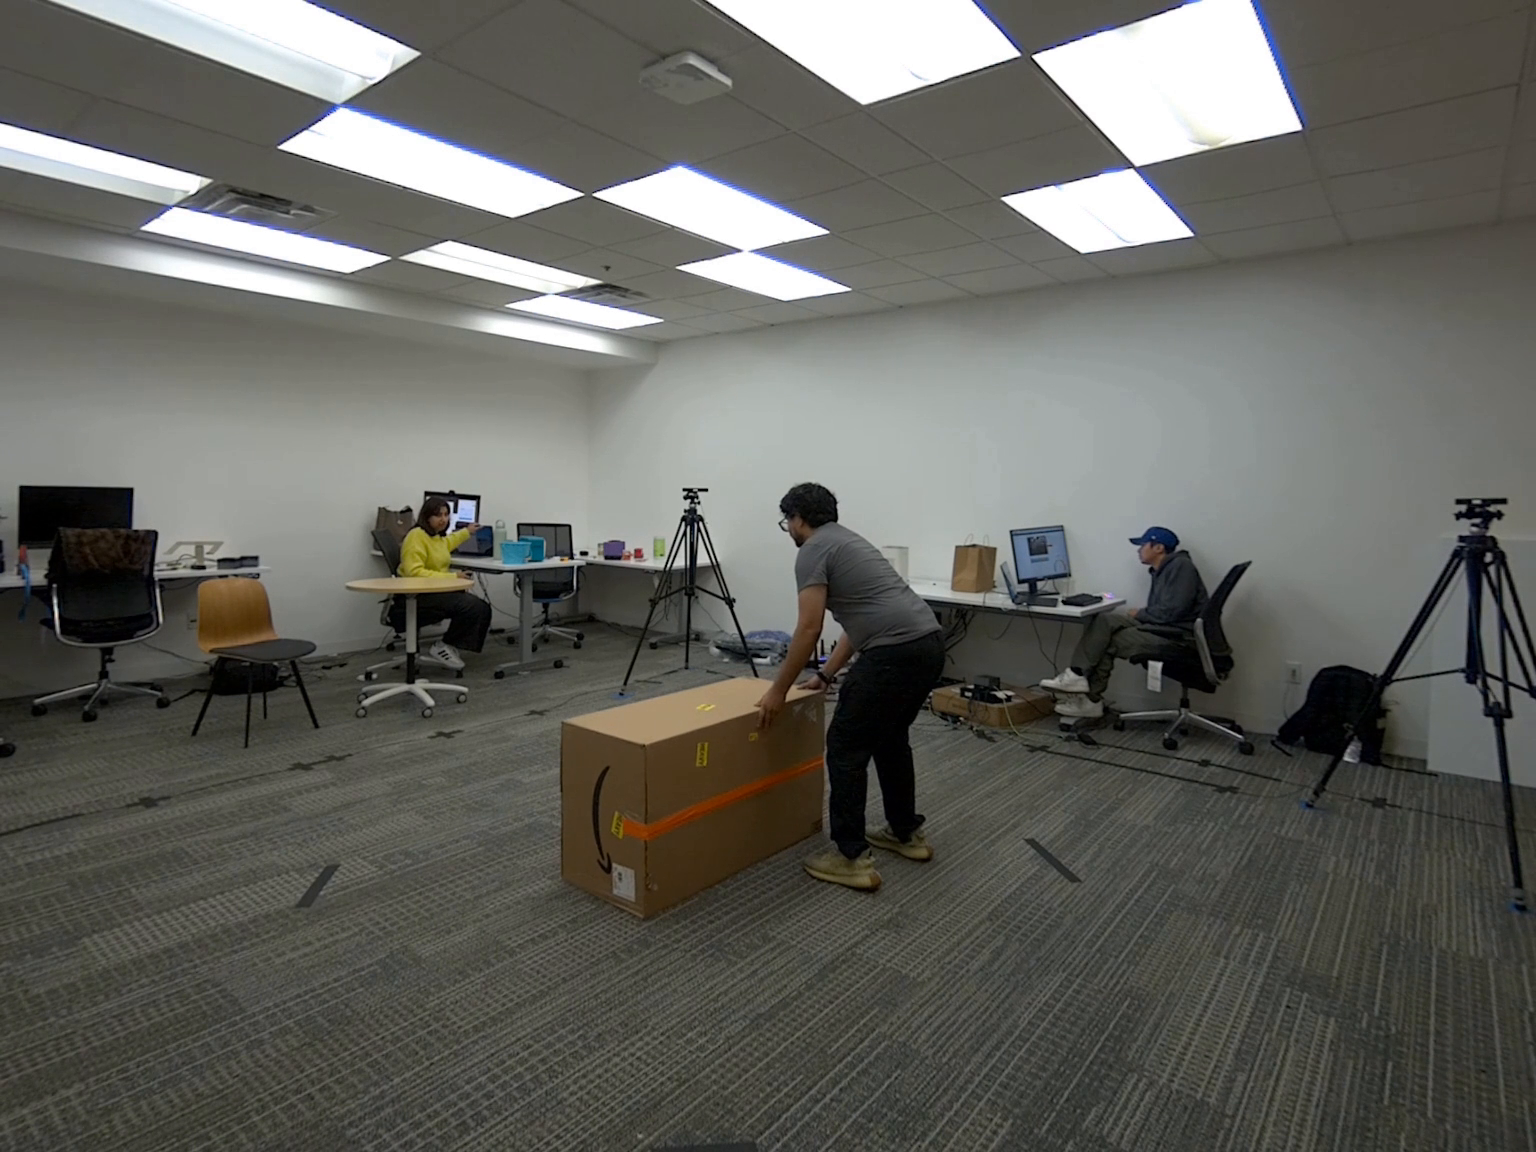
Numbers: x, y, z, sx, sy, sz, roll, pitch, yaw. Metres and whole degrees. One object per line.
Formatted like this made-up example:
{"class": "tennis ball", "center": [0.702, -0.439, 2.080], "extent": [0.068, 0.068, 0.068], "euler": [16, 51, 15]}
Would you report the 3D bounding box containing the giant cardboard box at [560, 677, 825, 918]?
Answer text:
{"class": "giant cardboard box", "center": [-0.259, 0.771, 3.231], "extent": [0.440, 0.576, 0.996], "euler": [3, 5, 39]}
